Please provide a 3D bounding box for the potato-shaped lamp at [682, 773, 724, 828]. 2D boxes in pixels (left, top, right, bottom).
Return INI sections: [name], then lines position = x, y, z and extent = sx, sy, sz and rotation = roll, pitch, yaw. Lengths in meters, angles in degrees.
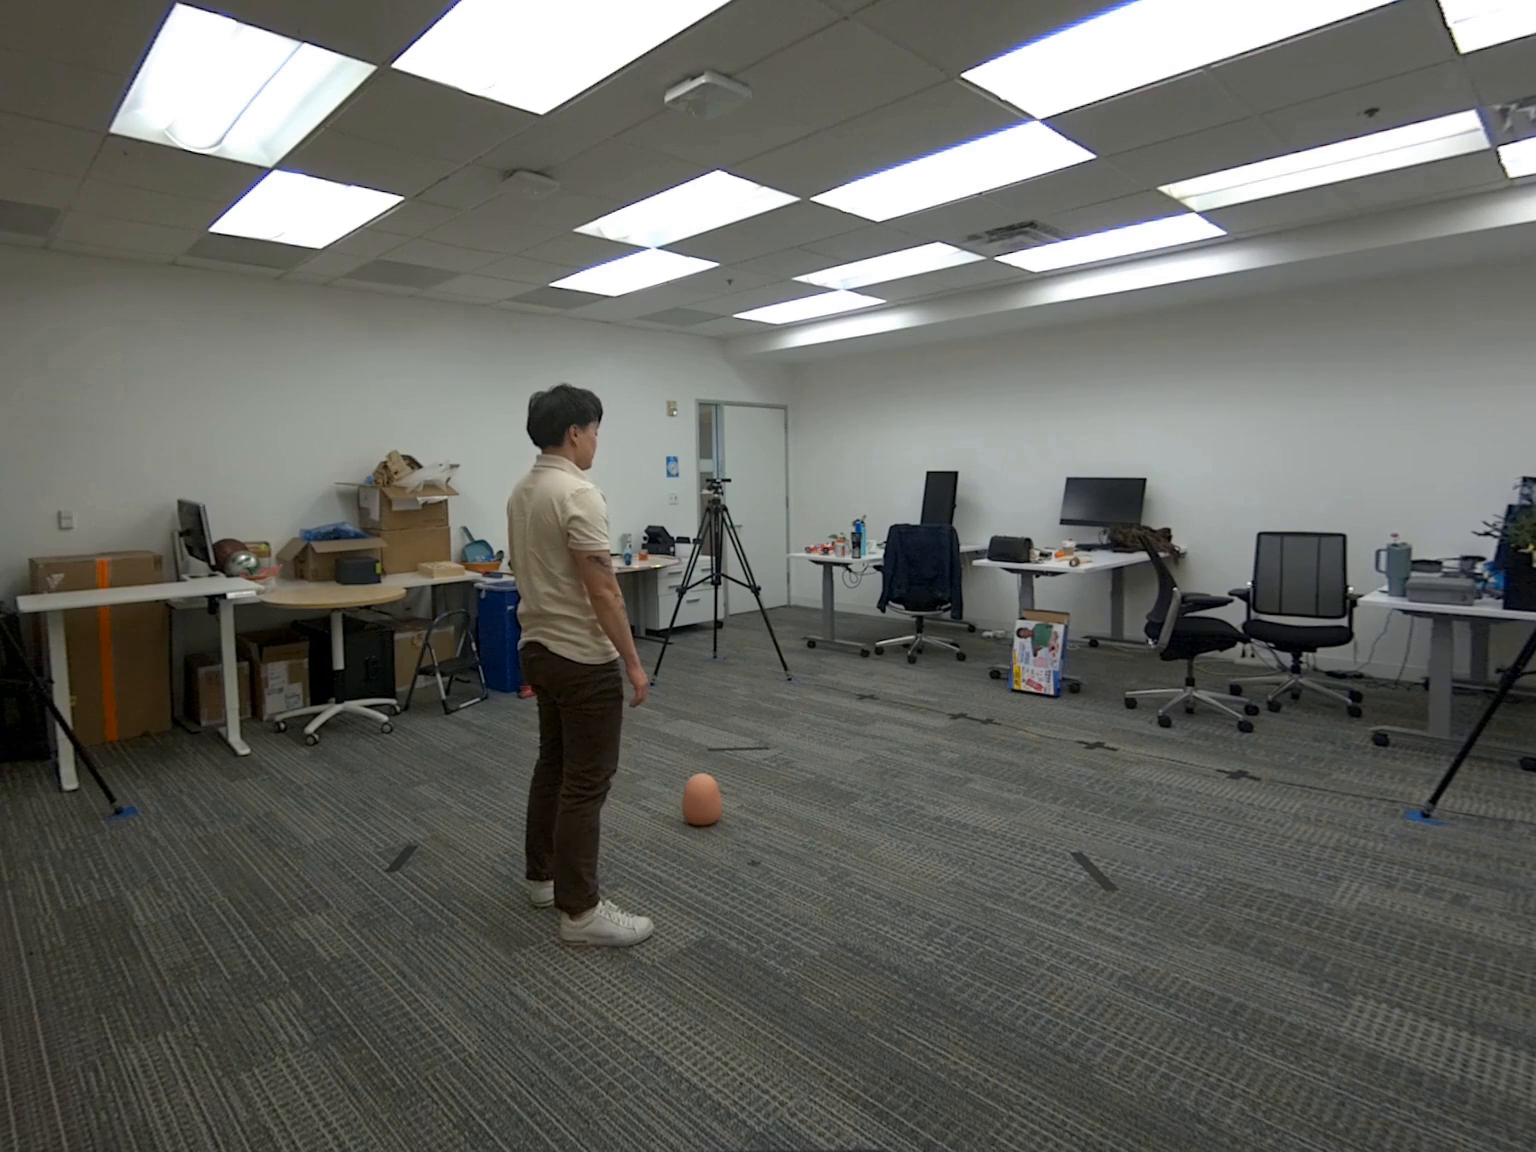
[potato-shaped lamp]
position = -0.270, 0.905, 3.483
extent = 0.166, 0.197, 0.171
rotation = -1, 7, 10
